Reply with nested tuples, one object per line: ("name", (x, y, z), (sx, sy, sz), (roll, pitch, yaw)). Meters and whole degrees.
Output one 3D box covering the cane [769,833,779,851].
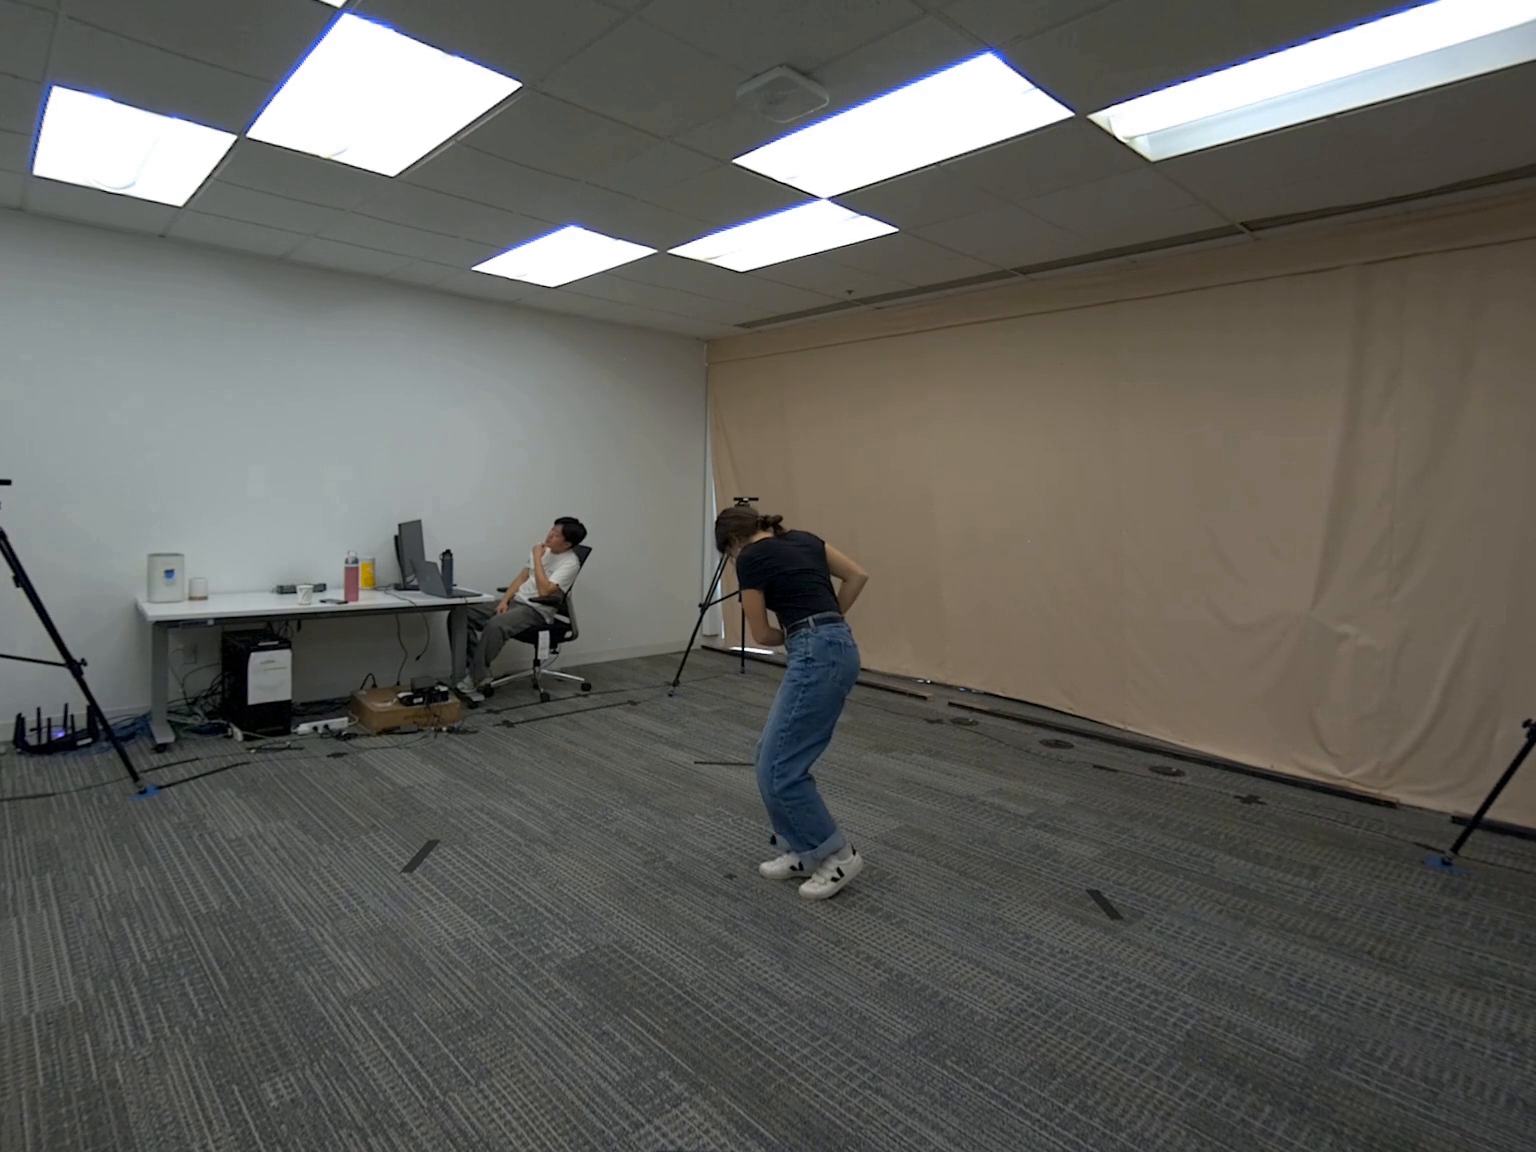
("cane", (0.130, 0.642, 3.387), (0.202, 0.906, 0.155), (0, 3, -30))
